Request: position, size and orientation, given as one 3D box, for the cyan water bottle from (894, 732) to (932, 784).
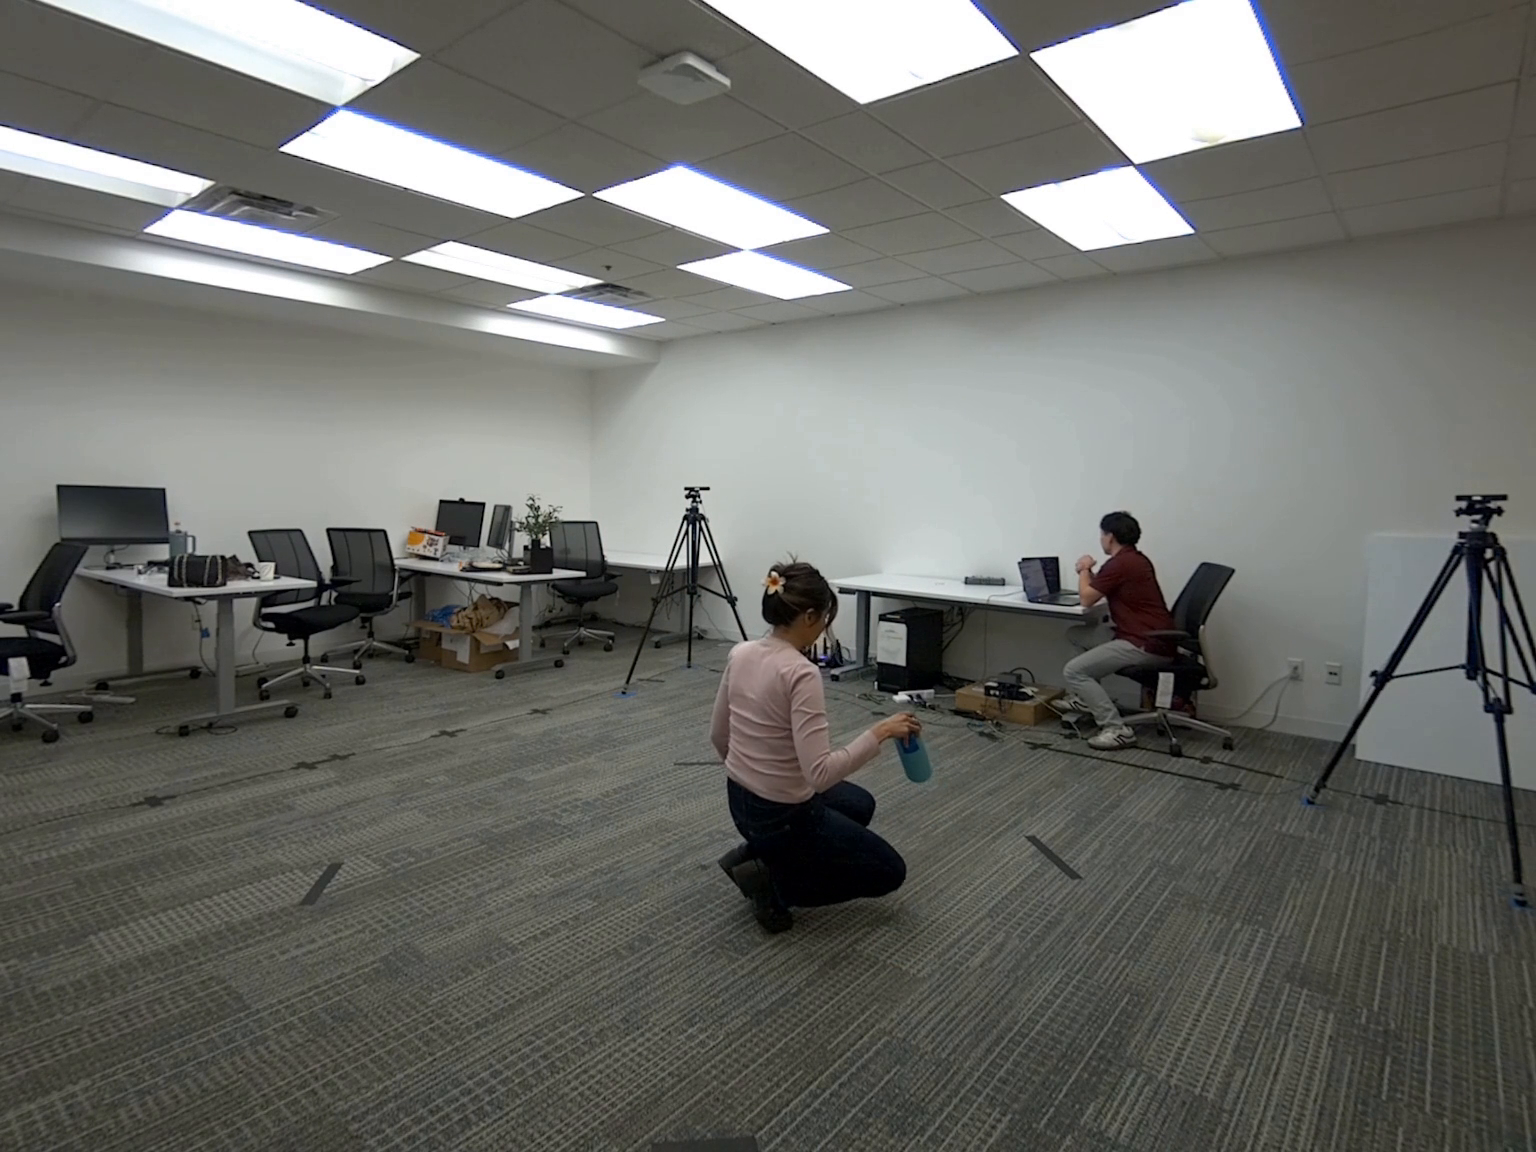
[{"bbox_3d":[0.453,0.547,2.678,0.093,0.273,0.095,-15,39,11],"label":"cyan water bottle"}]
